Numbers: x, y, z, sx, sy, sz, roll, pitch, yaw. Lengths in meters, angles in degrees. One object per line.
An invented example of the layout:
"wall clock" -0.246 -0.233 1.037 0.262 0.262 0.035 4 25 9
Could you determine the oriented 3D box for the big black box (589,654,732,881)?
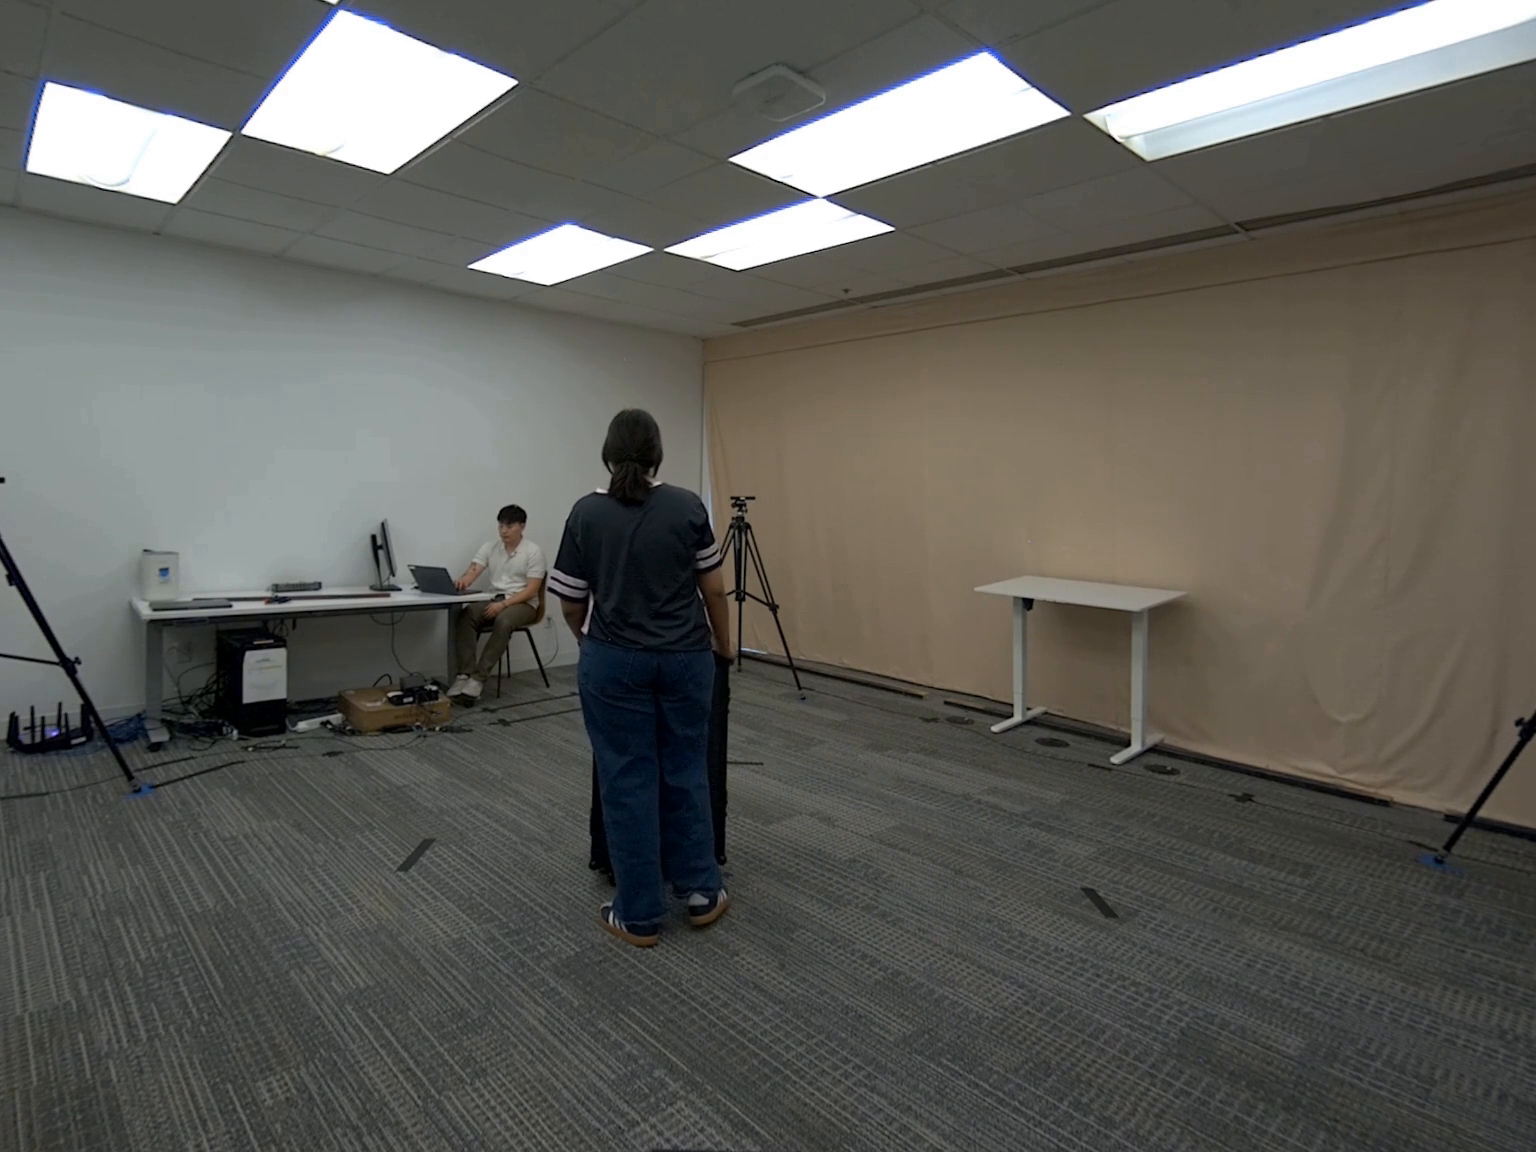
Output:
"big black box" -0.424 0.672 3.157 0.519 0.867 0.389 1 3 -11
